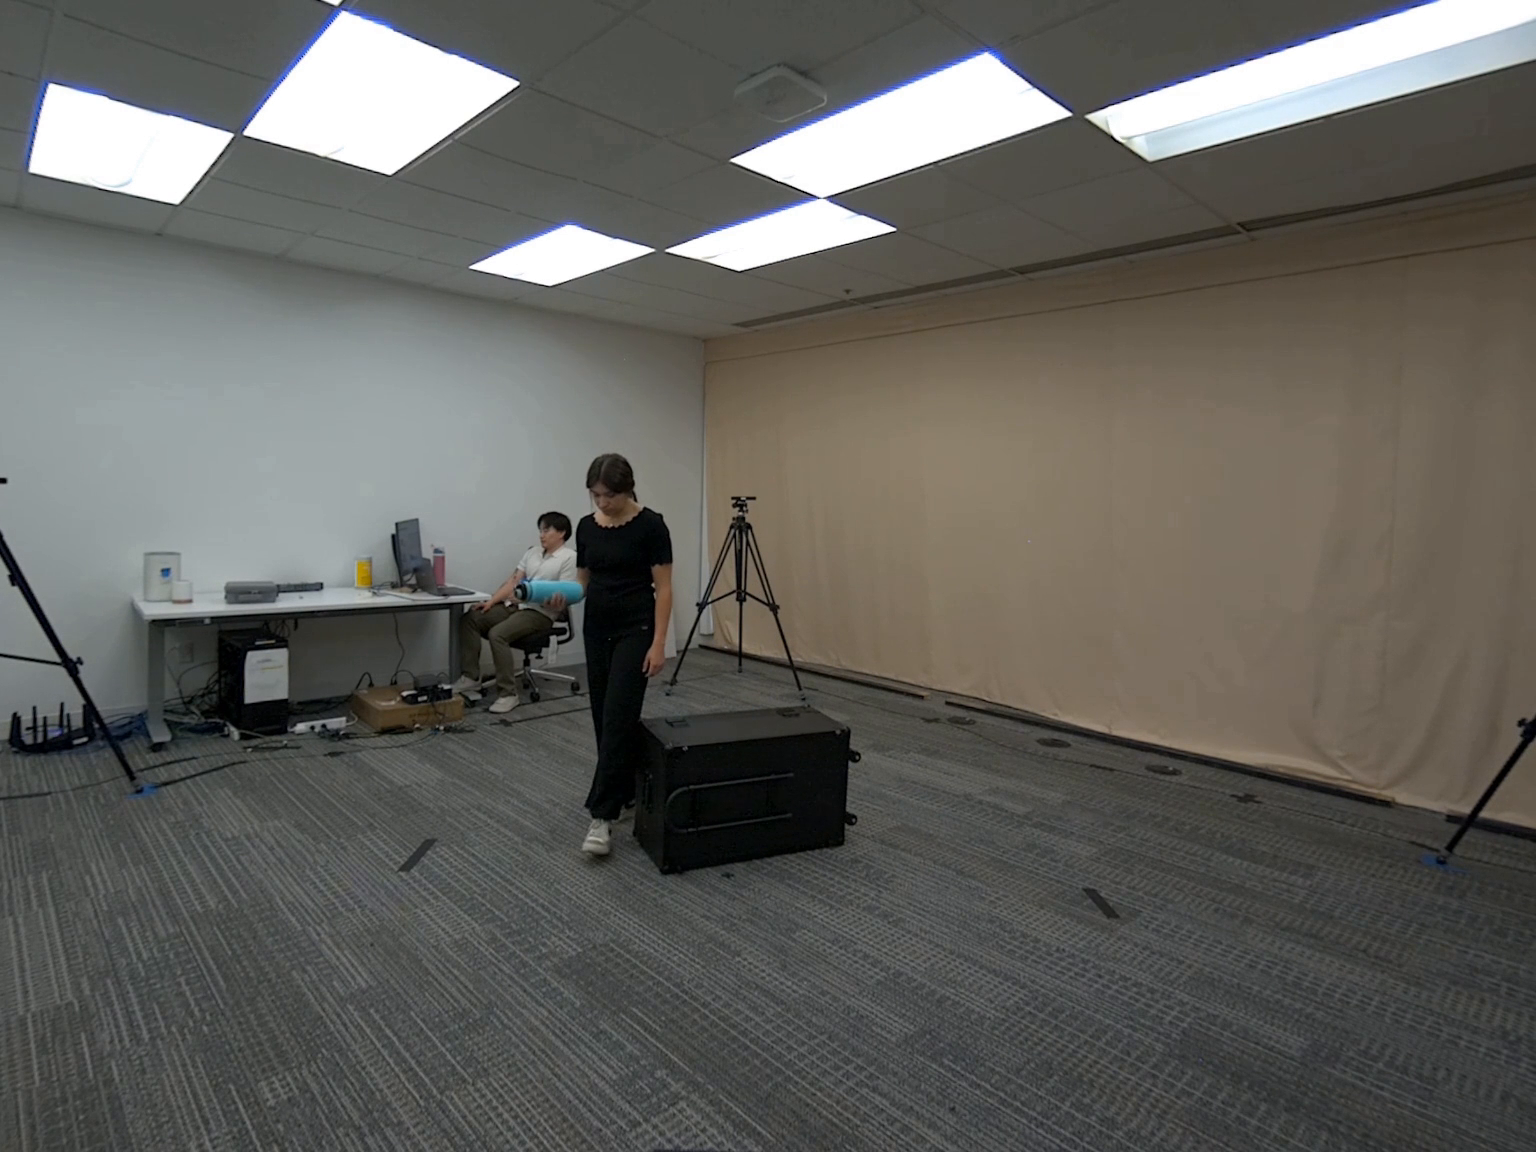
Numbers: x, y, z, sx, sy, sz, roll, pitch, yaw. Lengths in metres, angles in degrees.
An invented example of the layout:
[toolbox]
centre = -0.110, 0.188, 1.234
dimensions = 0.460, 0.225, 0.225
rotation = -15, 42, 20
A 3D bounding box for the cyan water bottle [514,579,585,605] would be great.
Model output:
[cyan water bottle]
centre = -0.899, 0.065, 3.370
dimensions = 0.276, 0.092, 0.095
rotation = 7, -1, -45
